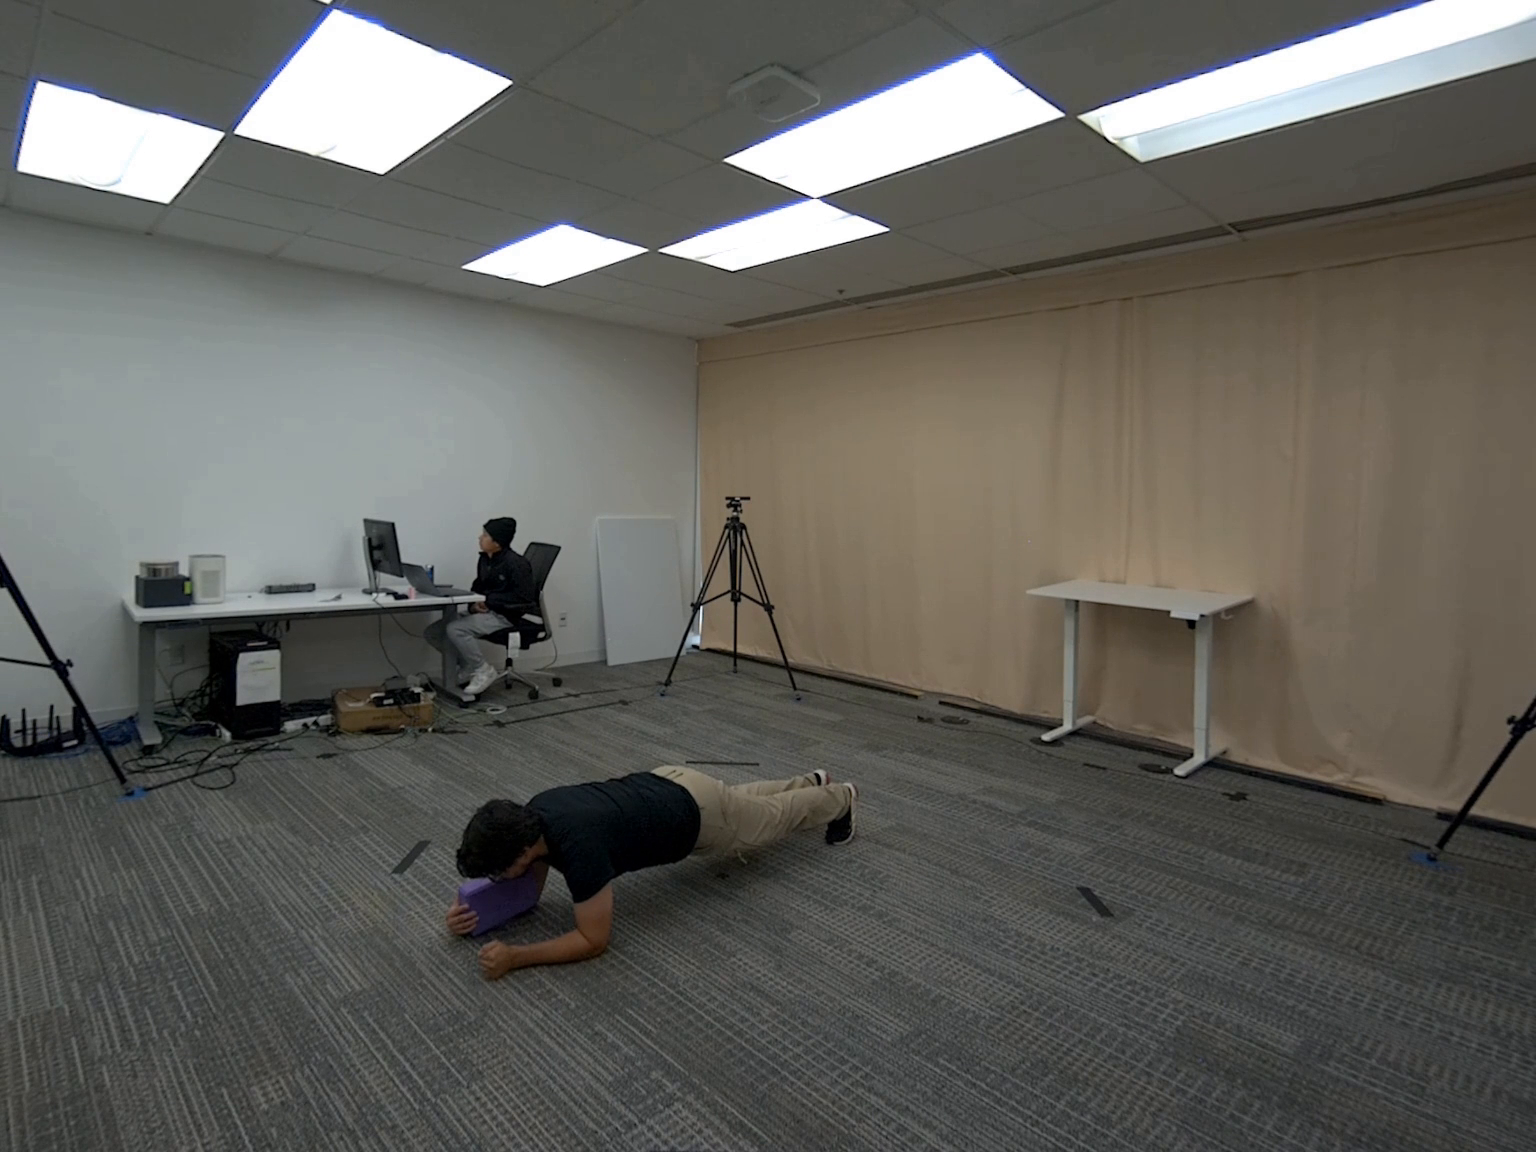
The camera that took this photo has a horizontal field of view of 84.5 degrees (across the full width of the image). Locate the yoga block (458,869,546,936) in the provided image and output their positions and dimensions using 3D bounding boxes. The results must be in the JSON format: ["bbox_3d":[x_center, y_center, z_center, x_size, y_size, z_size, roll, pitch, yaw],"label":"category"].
[{"bbox_3d":[-0.862,1.019,2.694,0.225,0.147,0.078,-14,17,-35],"label":"yoga block"}]
